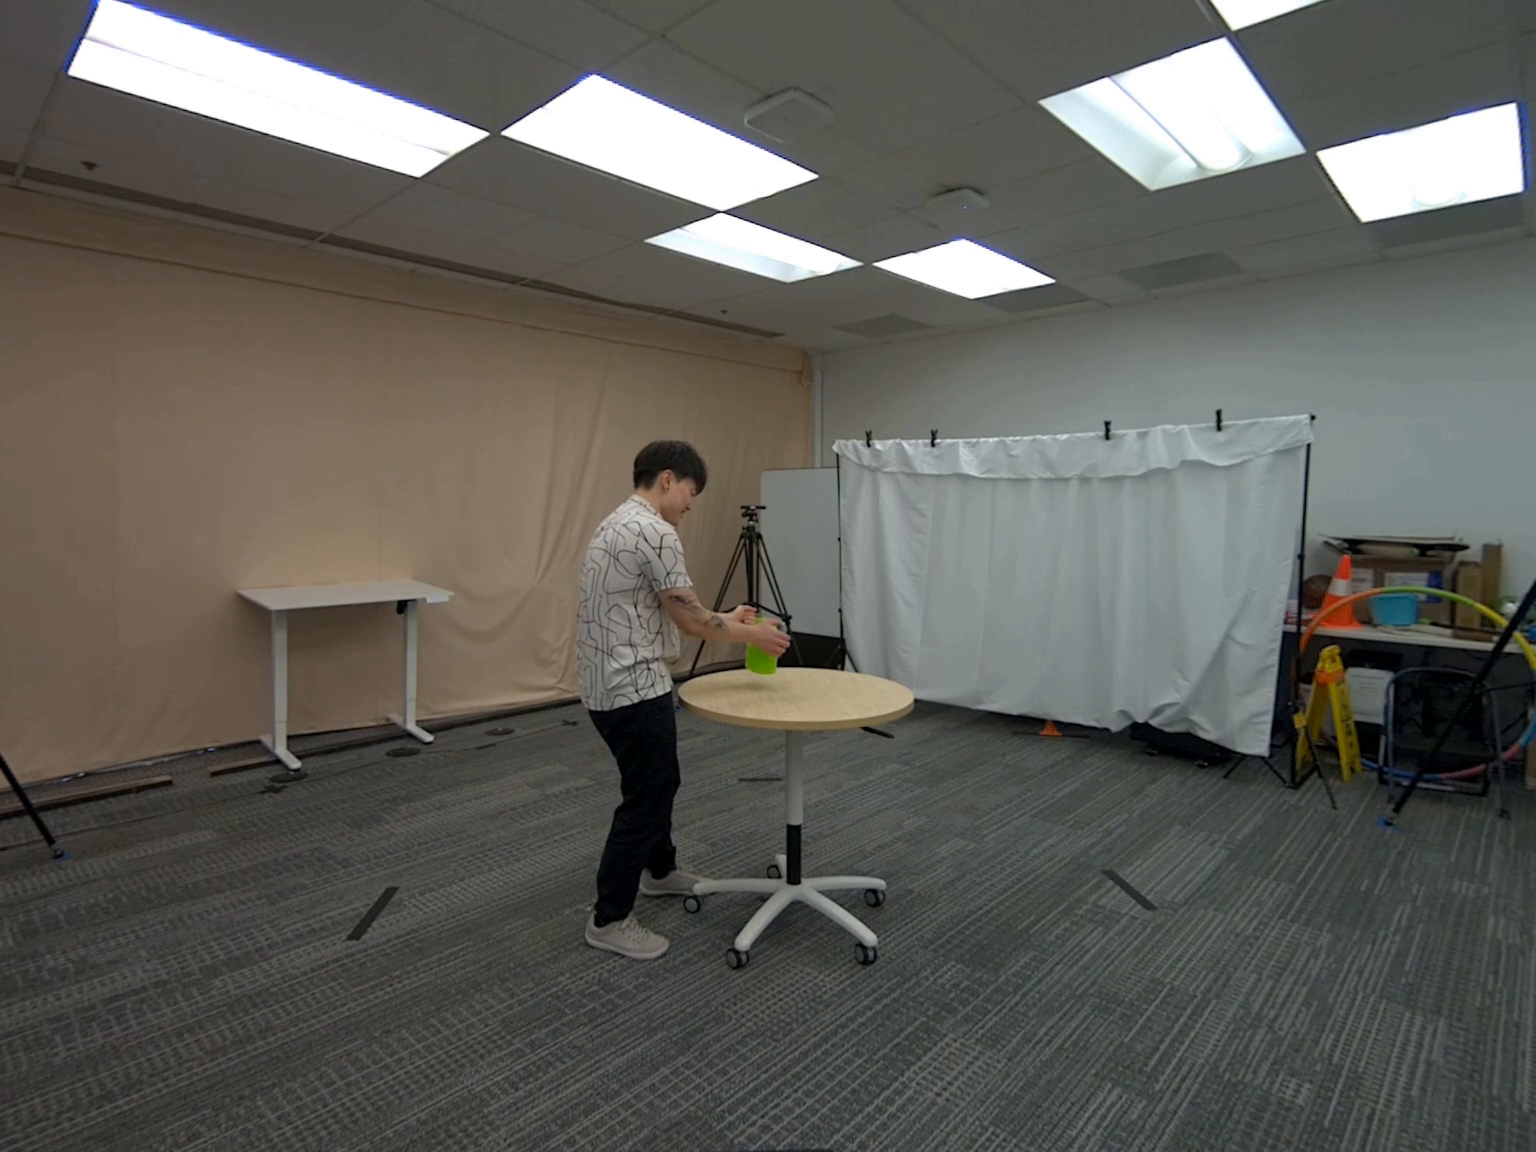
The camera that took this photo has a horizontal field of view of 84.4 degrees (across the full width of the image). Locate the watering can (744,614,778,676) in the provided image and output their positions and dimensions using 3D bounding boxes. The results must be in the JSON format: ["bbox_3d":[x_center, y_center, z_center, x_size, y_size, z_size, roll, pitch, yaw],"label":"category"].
[{"bbox_3d":[-0.028,0.222,2.807,0.096,0.176,0.285,5,5,-21],"label":"watering can"}]
